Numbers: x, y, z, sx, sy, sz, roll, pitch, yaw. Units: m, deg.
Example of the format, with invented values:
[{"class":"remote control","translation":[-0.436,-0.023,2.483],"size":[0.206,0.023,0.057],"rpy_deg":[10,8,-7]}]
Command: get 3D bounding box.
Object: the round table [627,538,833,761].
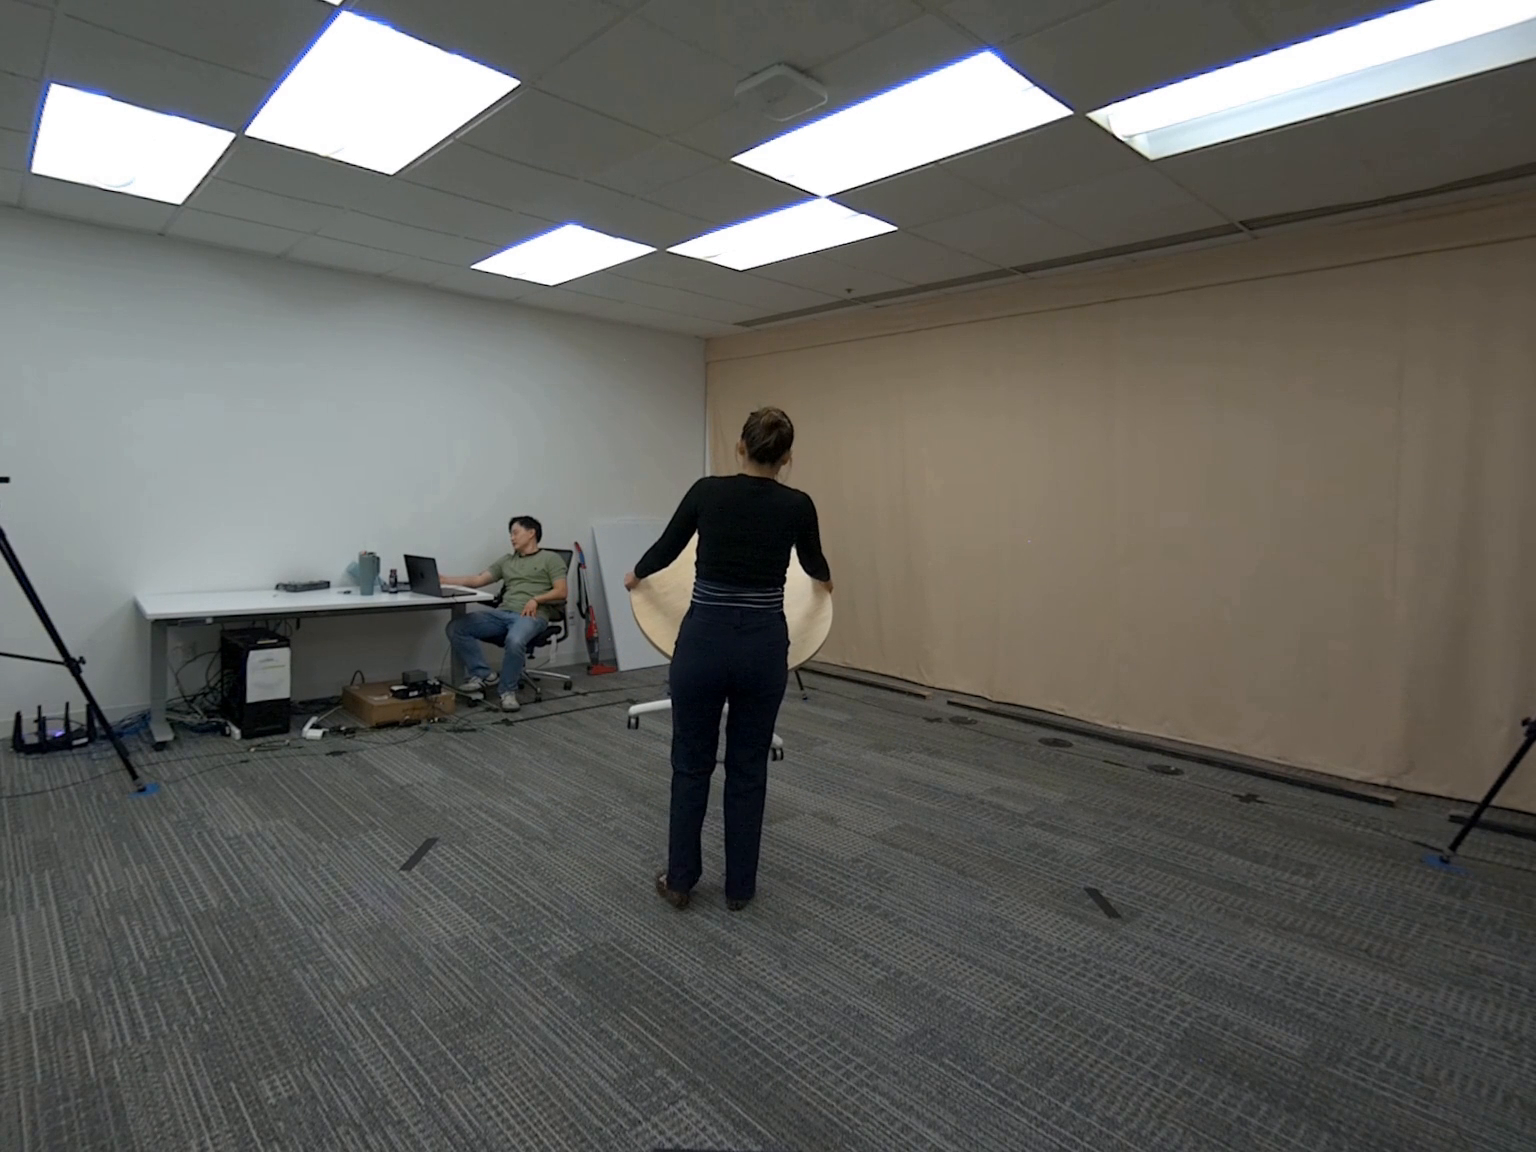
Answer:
[{"class":"round table","translation":[-0.205,0.354,3.437],"size":[0.760,0.780,0.781],"rpy_deg":[6,44,-7]}]
